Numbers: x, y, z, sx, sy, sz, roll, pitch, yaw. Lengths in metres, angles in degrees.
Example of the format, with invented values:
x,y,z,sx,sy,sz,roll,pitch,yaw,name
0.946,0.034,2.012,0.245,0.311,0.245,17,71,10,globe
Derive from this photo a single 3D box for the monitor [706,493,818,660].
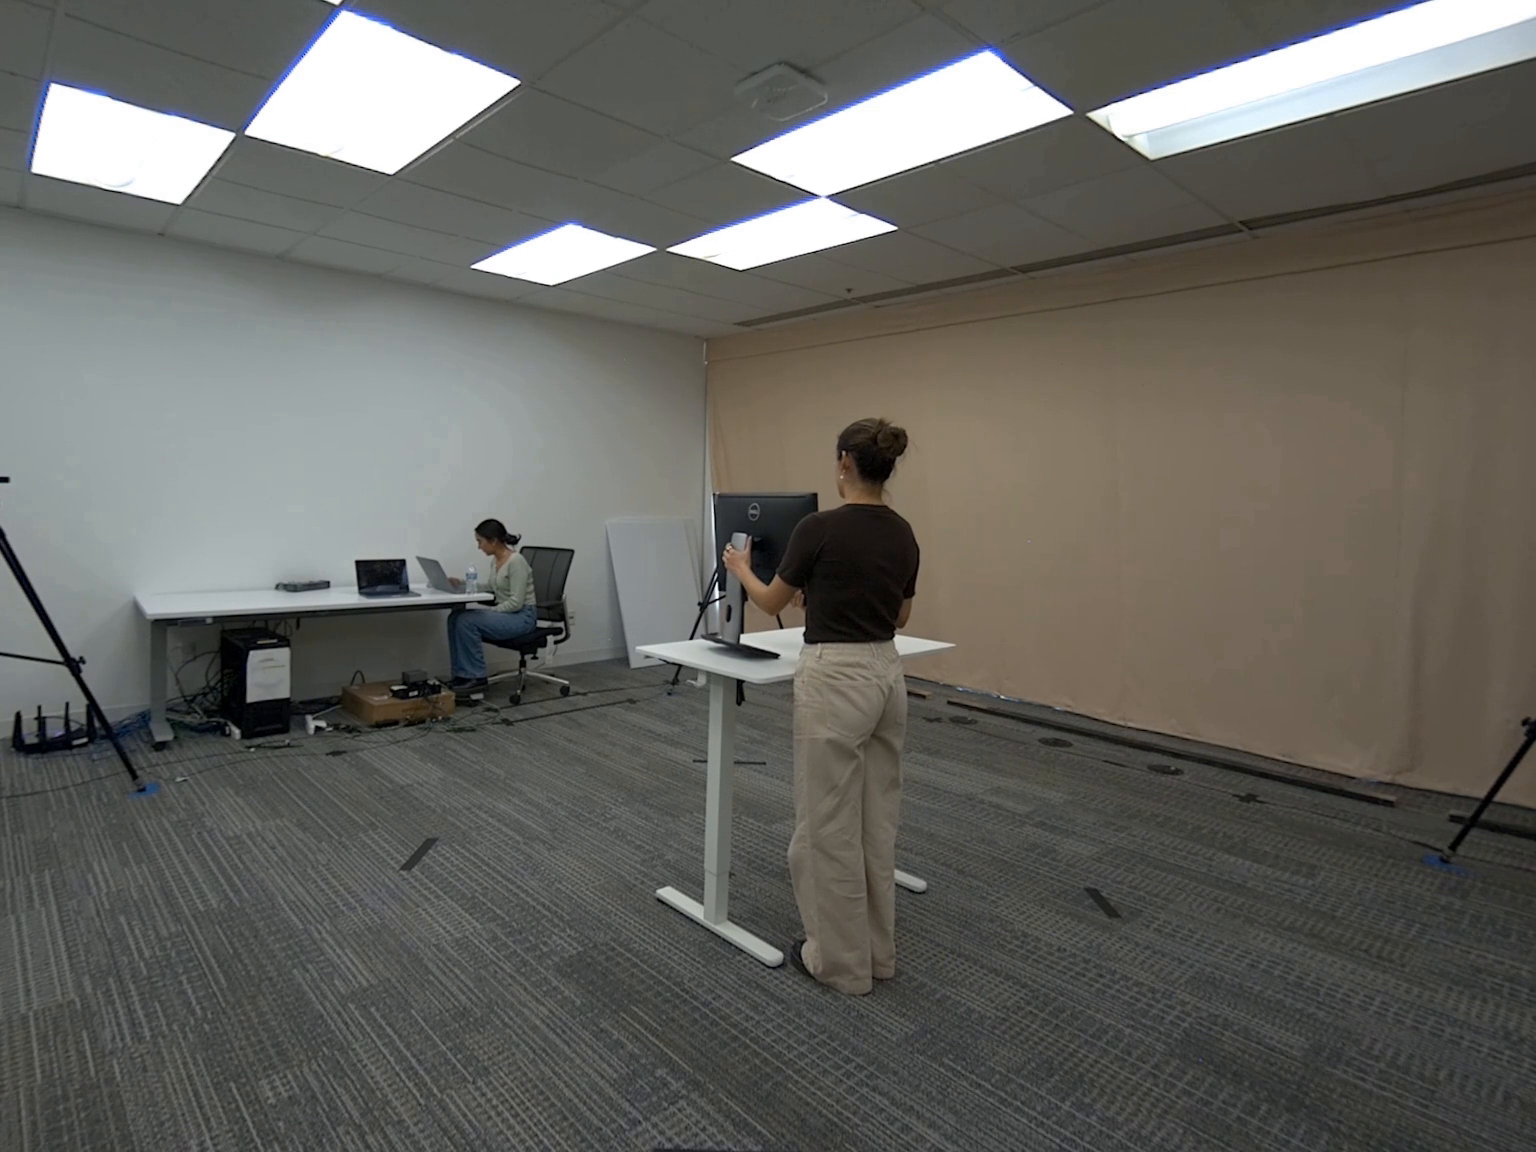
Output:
x,y,z,sx,sy,sz,roll,pitch,yaw,name
-0.054,-0.015,2.764,0.182,0.524,0.552,12,-4,-37,monitor
